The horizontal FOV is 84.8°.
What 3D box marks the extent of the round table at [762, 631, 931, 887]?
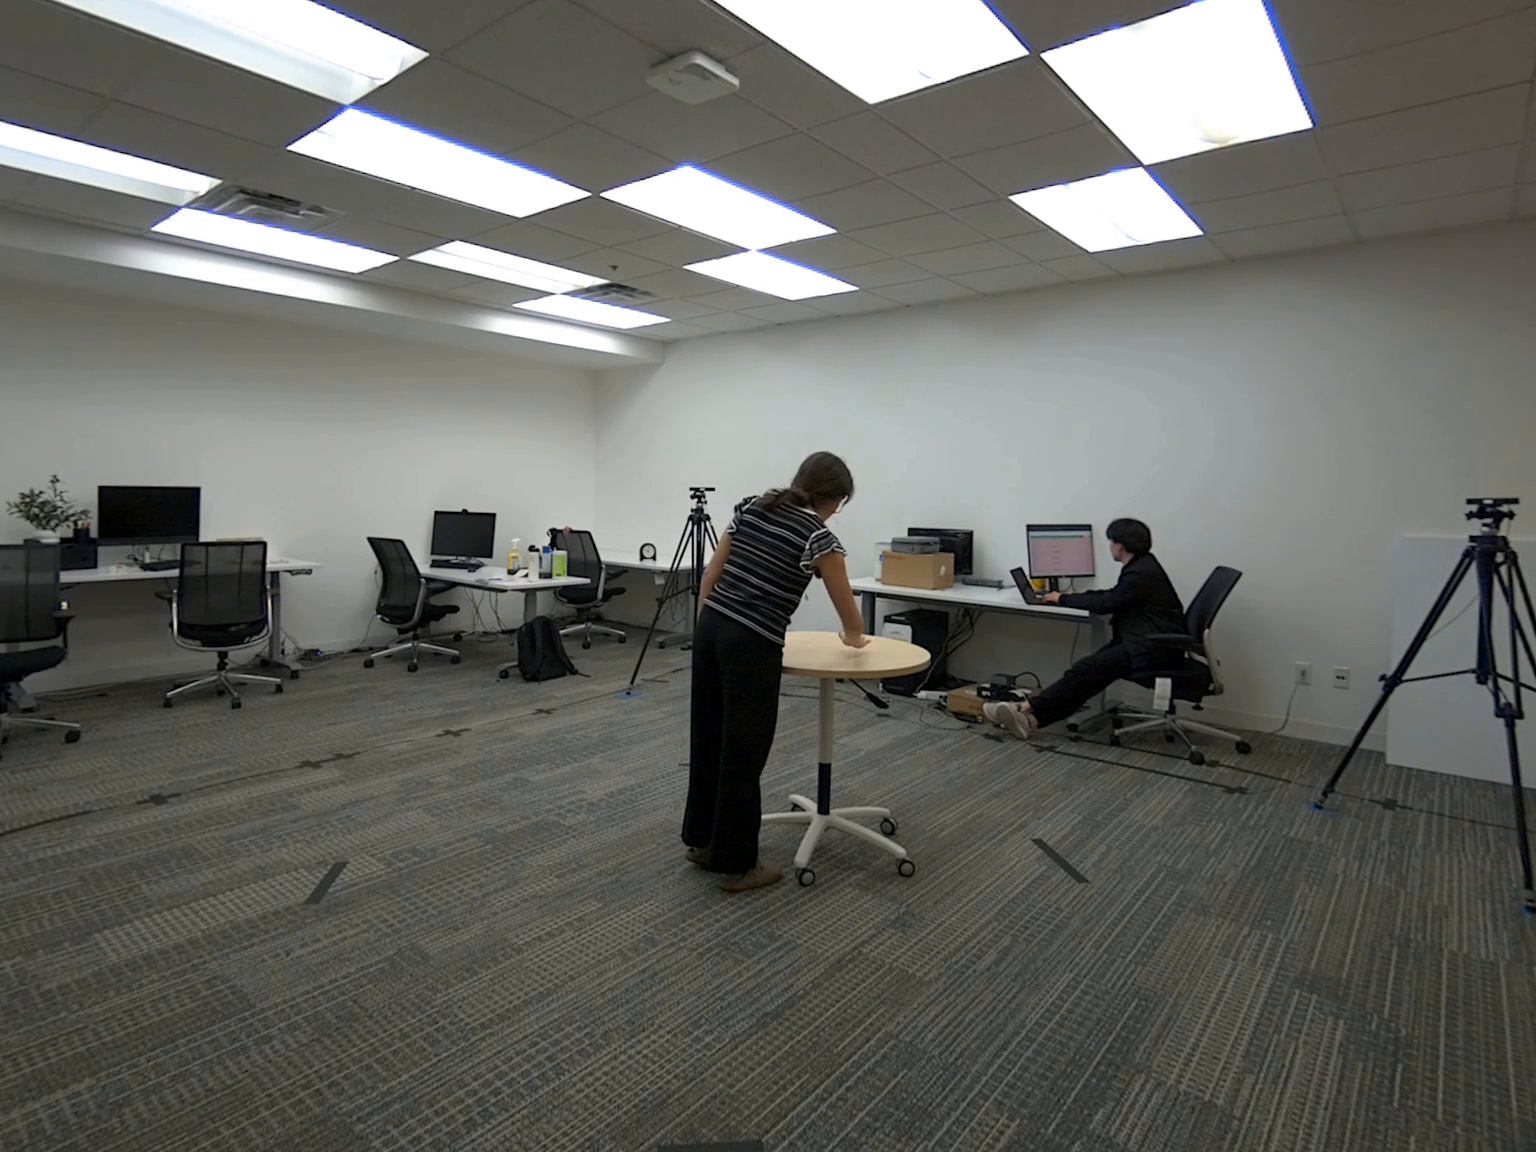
[{"bbox_3d":[0.216,0.670,3.295,0.763,0.791,0.768,1,5,-2],"label":"round table"}]
